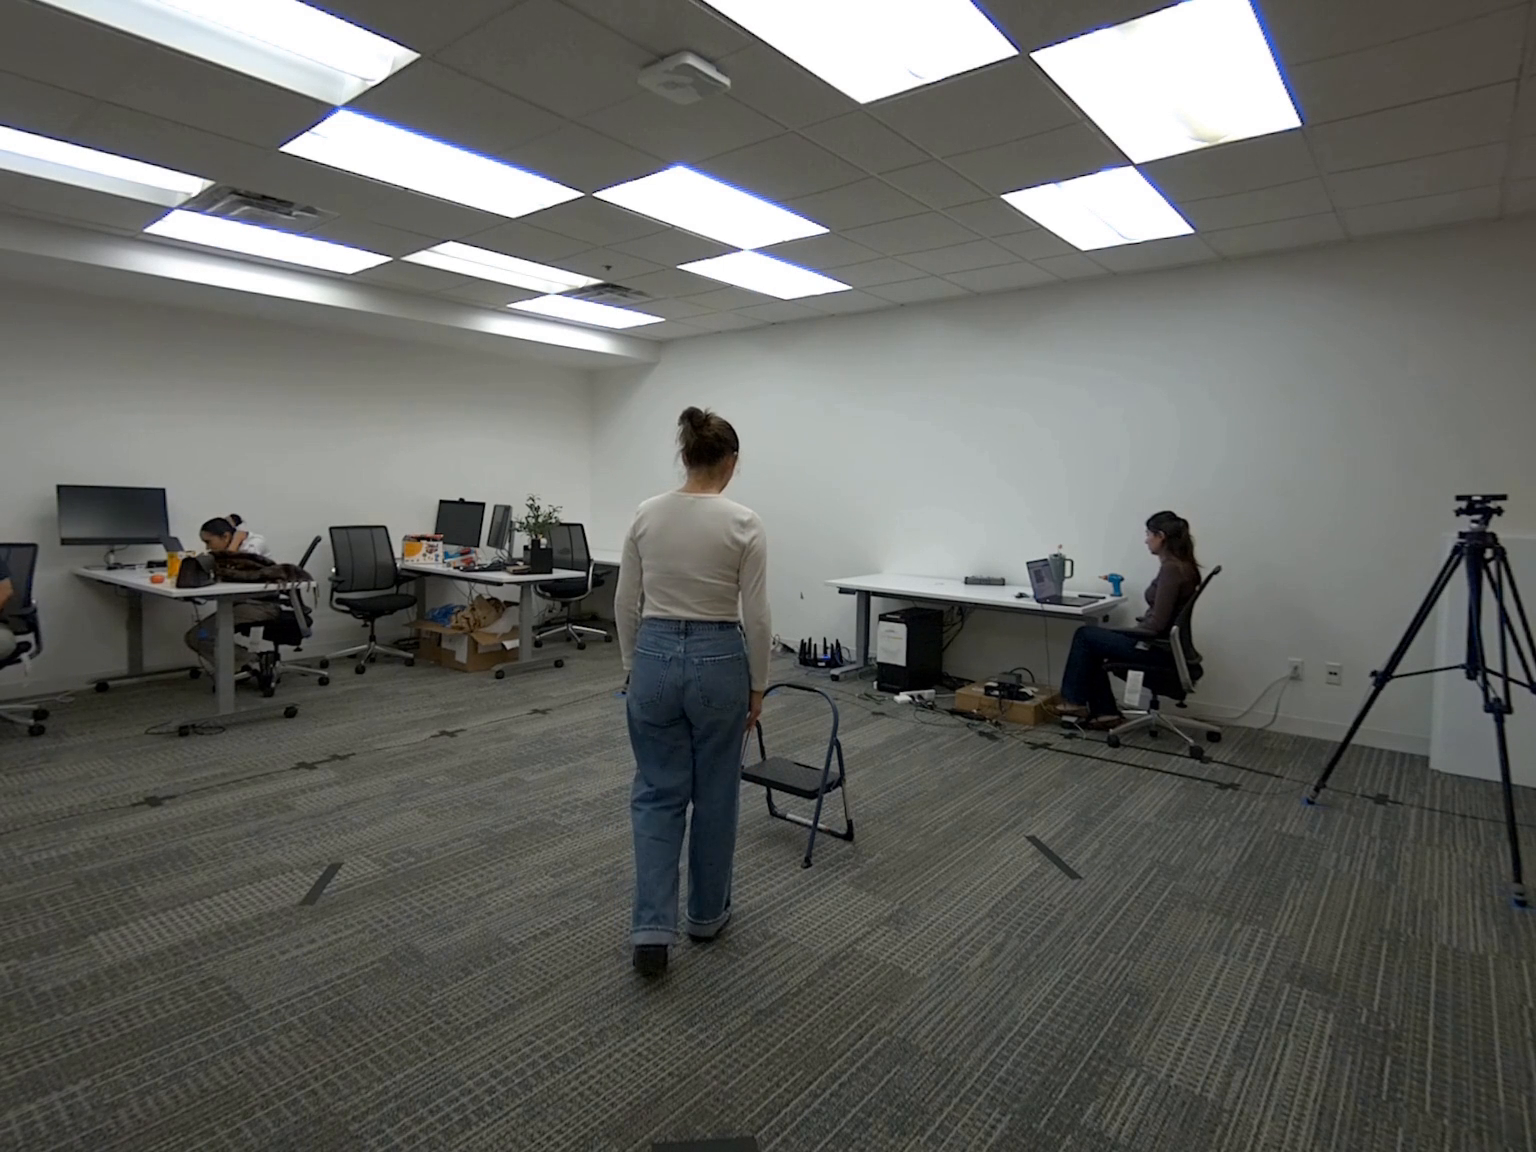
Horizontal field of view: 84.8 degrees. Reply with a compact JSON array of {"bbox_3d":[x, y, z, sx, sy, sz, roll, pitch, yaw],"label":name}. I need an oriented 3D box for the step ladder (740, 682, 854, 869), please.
[{"bbox_3d":[0.078,0.740,3.372,0.445,0.604,0.339,4,5,38],"label":"step ladder"}]
